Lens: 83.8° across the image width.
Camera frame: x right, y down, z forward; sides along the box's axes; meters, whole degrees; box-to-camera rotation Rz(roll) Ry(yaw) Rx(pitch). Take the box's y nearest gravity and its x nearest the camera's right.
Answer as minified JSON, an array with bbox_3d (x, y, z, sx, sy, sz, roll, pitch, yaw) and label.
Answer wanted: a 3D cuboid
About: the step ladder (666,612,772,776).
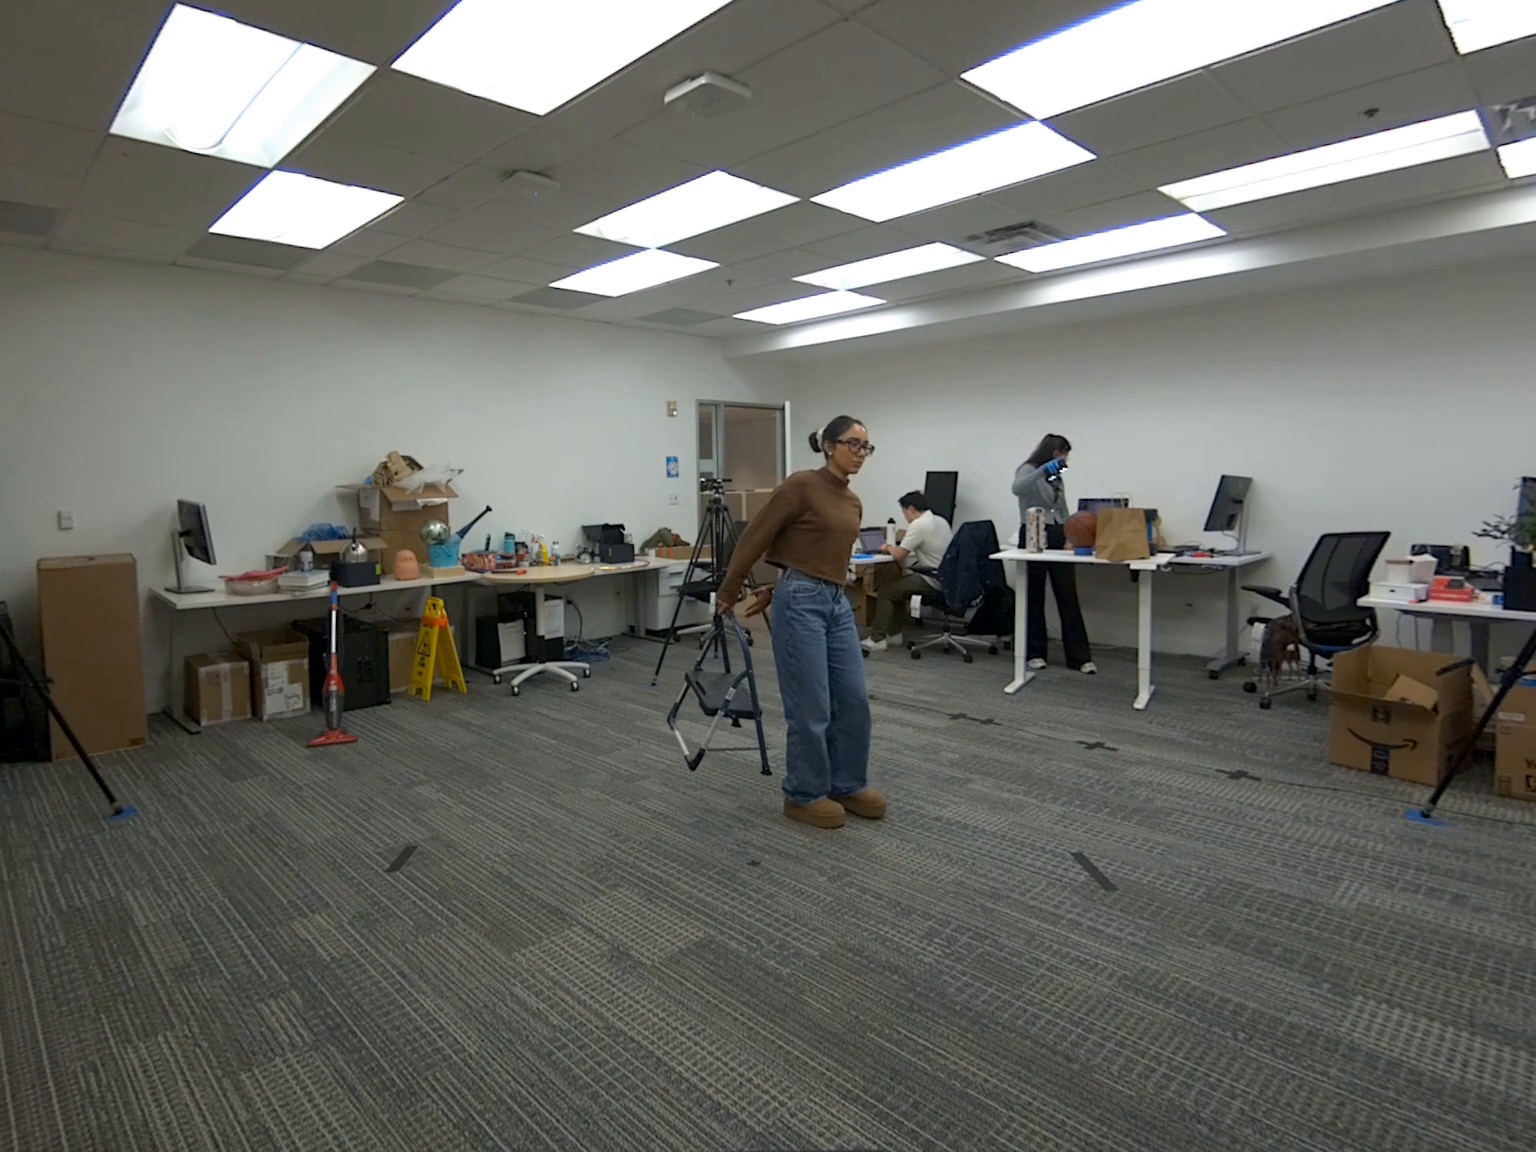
[{"bbox_3d":[-0.150,0.436,3.514,0.342,0.601,0.444,7,14,-22],"label":"step ladder"}]
